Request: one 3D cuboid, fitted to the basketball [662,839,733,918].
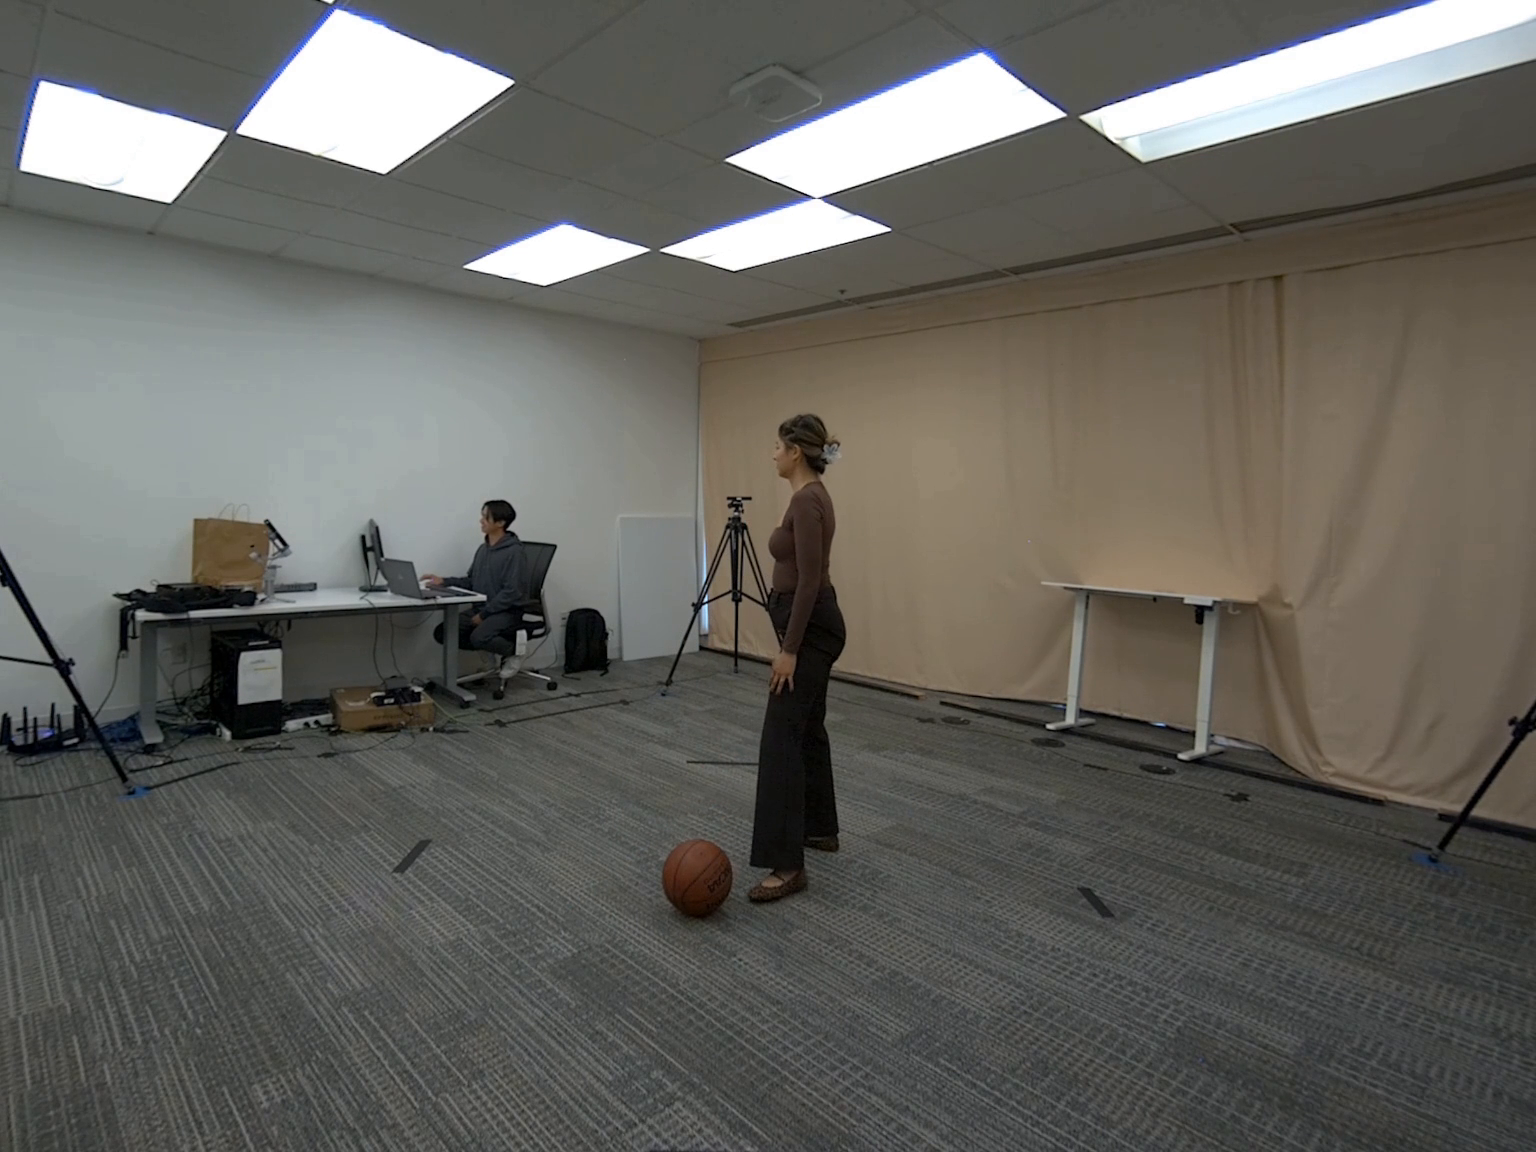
[{"bbox_3d":[-0.243,1.007,2.823,0.236,0.235,0.237,1,4,-1],"label":"basketball"}]
